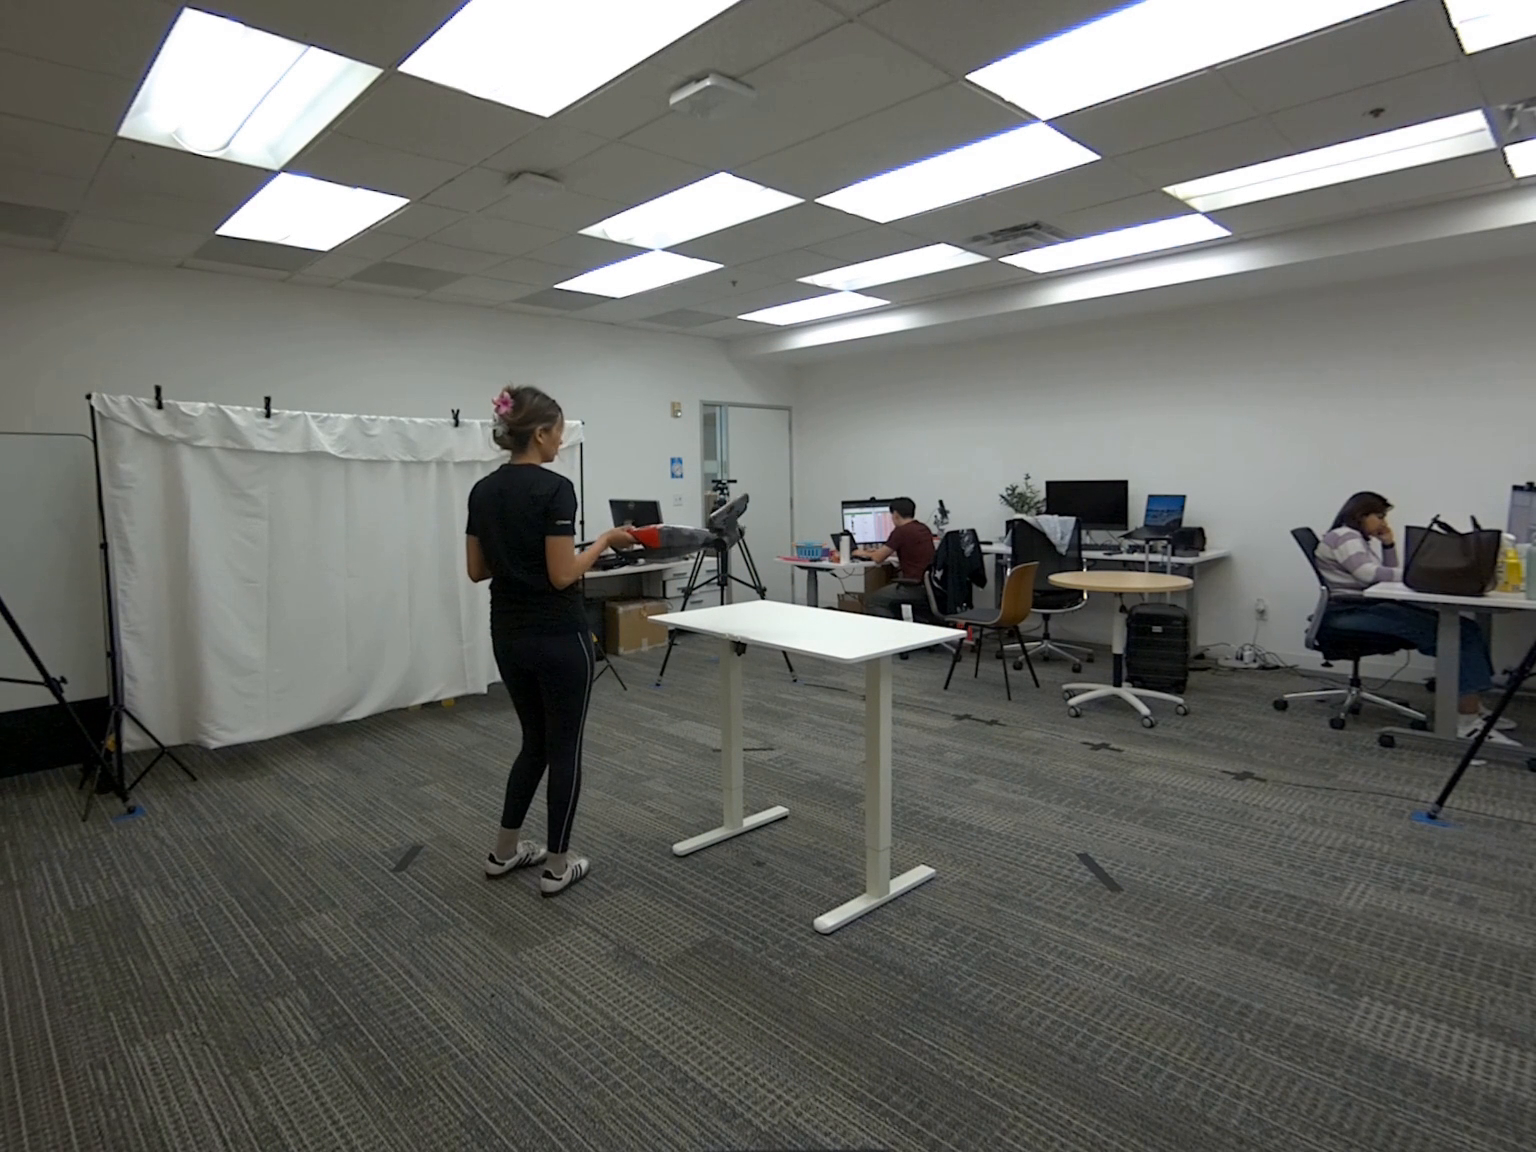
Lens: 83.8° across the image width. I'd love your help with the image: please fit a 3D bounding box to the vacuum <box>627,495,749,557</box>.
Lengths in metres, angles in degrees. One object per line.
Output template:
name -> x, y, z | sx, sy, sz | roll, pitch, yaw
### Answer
vacuum -> -0.559, -0.090, 3.054 | 1.071, 0.141, 0.251 | -10, 19, 32
